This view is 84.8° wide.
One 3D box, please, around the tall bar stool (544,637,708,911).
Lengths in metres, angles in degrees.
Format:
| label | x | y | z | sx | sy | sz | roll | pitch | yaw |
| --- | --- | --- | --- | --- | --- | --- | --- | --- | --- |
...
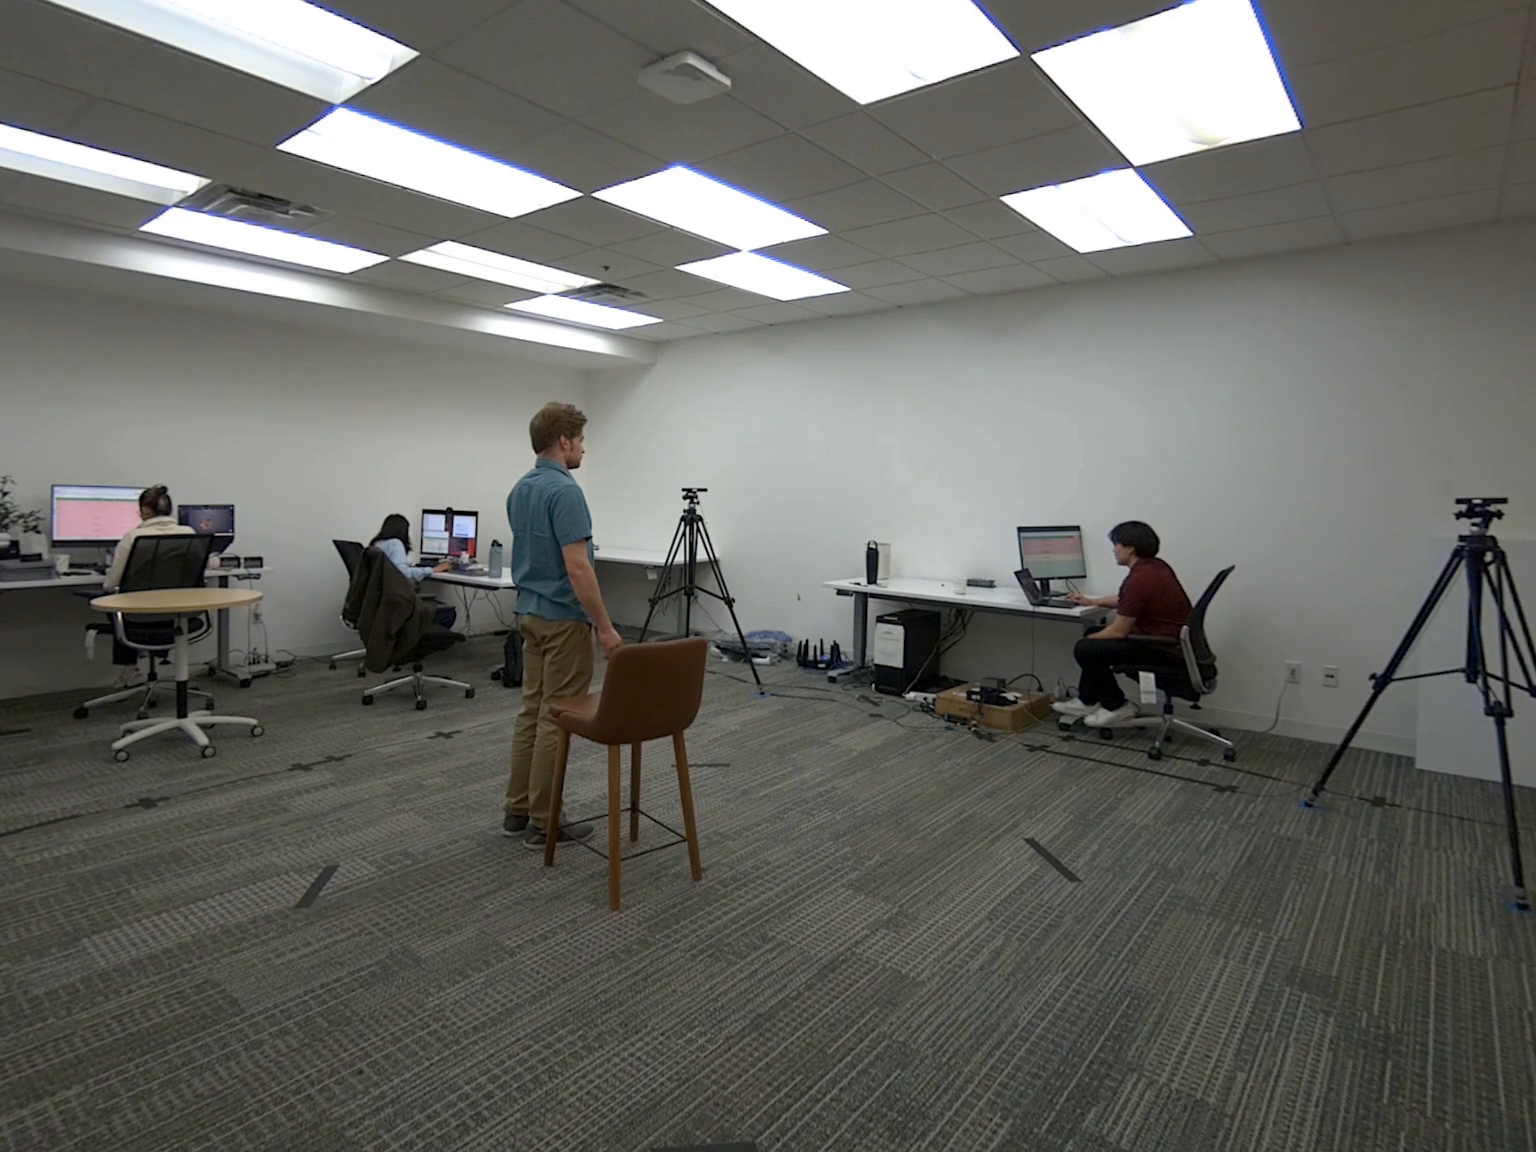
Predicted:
| label | x | y | z | sx | sy | sz | roll | pitch | yaw |
| --- | --- | --- | --- | --- | --- | --- | --- | --- | --- |
| tall bar stool | -0.516 | 0.635 | 3.054 | 0.442 | 0.886 | 0.484 | -1 | 6 | -42 |
